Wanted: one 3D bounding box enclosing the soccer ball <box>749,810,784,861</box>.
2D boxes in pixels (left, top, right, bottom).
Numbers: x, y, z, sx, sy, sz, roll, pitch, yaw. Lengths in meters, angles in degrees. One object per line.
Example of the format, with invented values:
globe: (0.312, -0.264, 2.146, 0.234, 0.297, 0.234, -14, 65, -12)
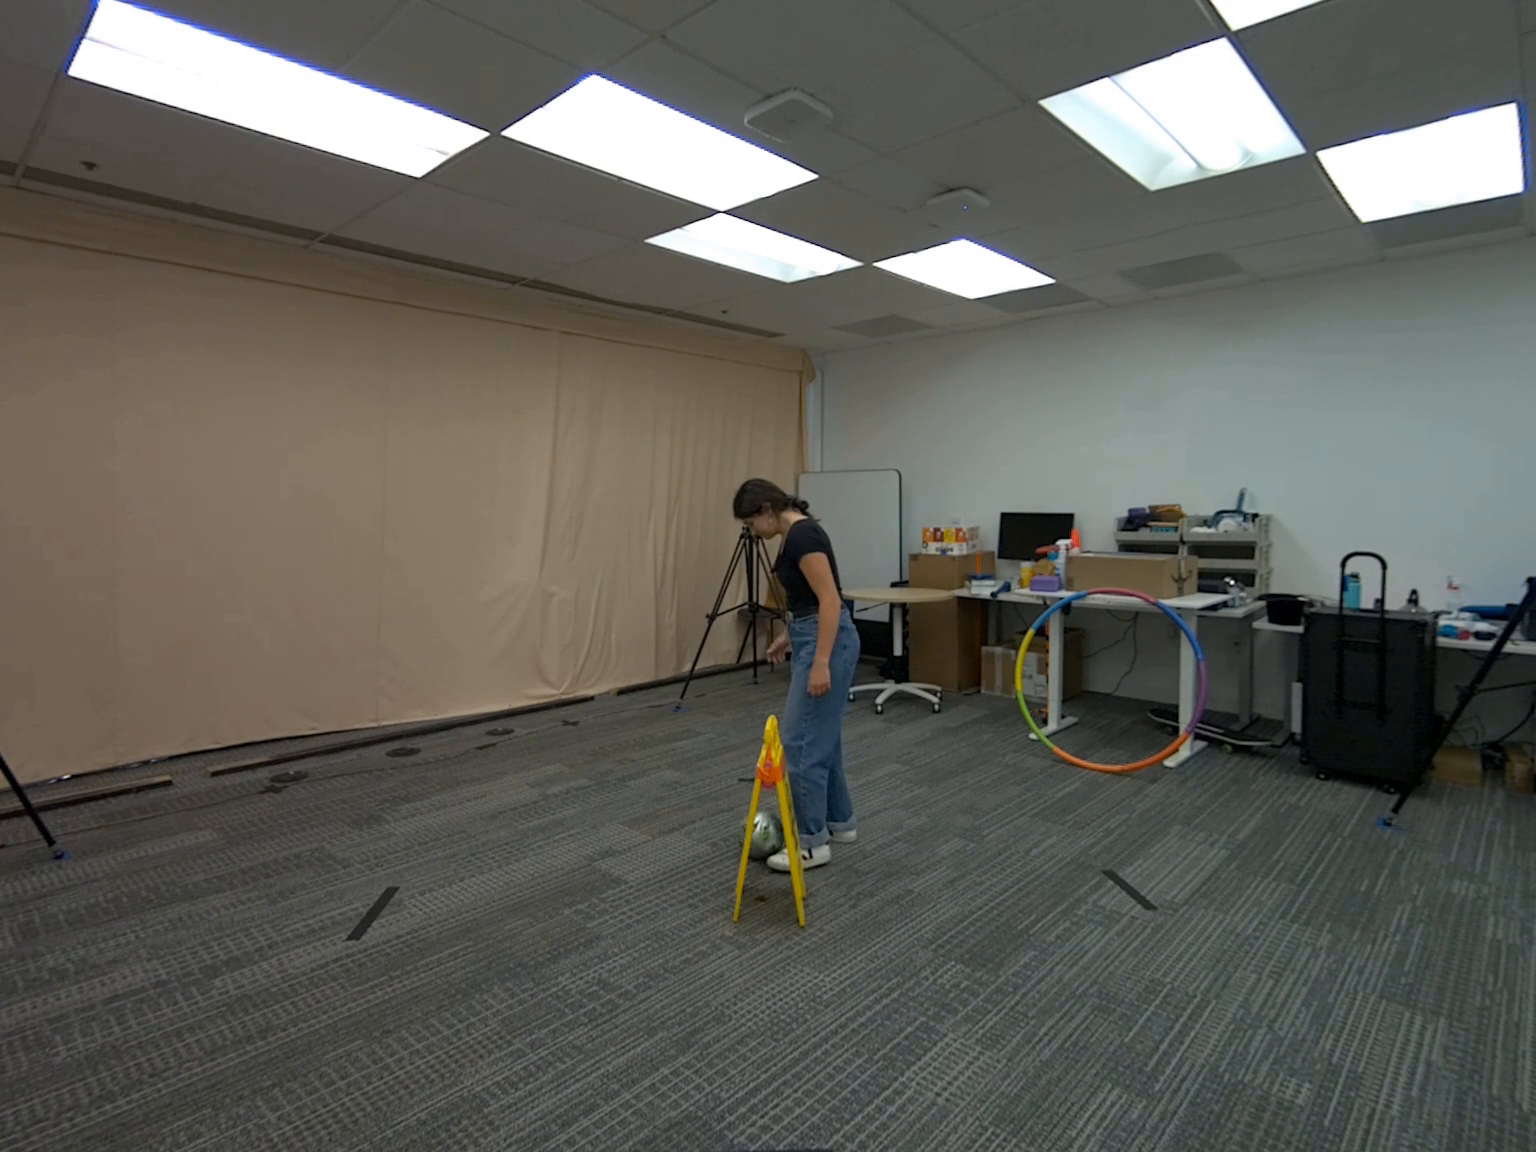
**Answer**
soccer ball: (-0.014, 1.028, 3.341, 0.187, 0.187, 0.188, 0, 4, -2)
